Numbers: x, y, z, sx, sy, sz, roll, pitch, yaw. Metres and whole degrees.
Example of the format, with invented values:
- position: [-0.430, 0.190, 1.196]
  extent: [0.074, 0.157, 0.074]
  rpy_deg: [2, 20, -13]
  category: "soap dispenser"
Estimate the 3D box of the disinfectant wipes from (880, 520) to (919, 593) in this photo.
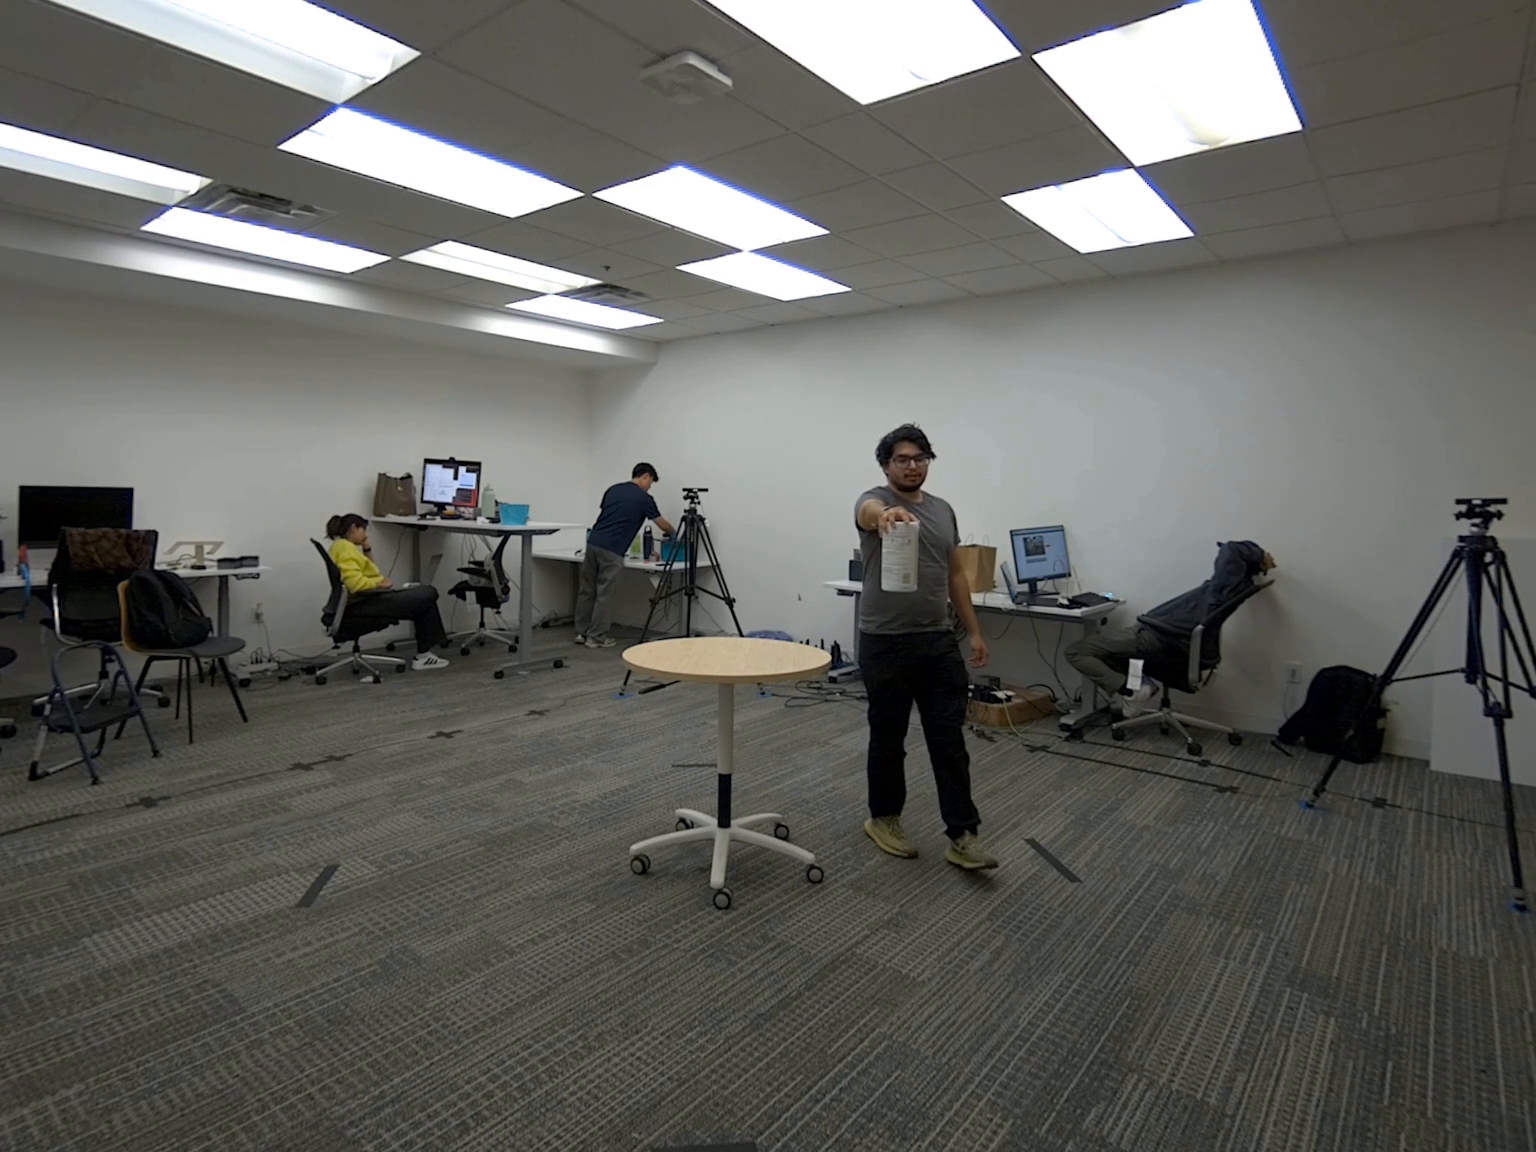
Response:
- position: [0.406, -0.067, 2.648]
  extent: [0.118, 0.217, 0.118]
  rpy_deg: [1, 4, -2]
  category: "disinfectant wipes"
